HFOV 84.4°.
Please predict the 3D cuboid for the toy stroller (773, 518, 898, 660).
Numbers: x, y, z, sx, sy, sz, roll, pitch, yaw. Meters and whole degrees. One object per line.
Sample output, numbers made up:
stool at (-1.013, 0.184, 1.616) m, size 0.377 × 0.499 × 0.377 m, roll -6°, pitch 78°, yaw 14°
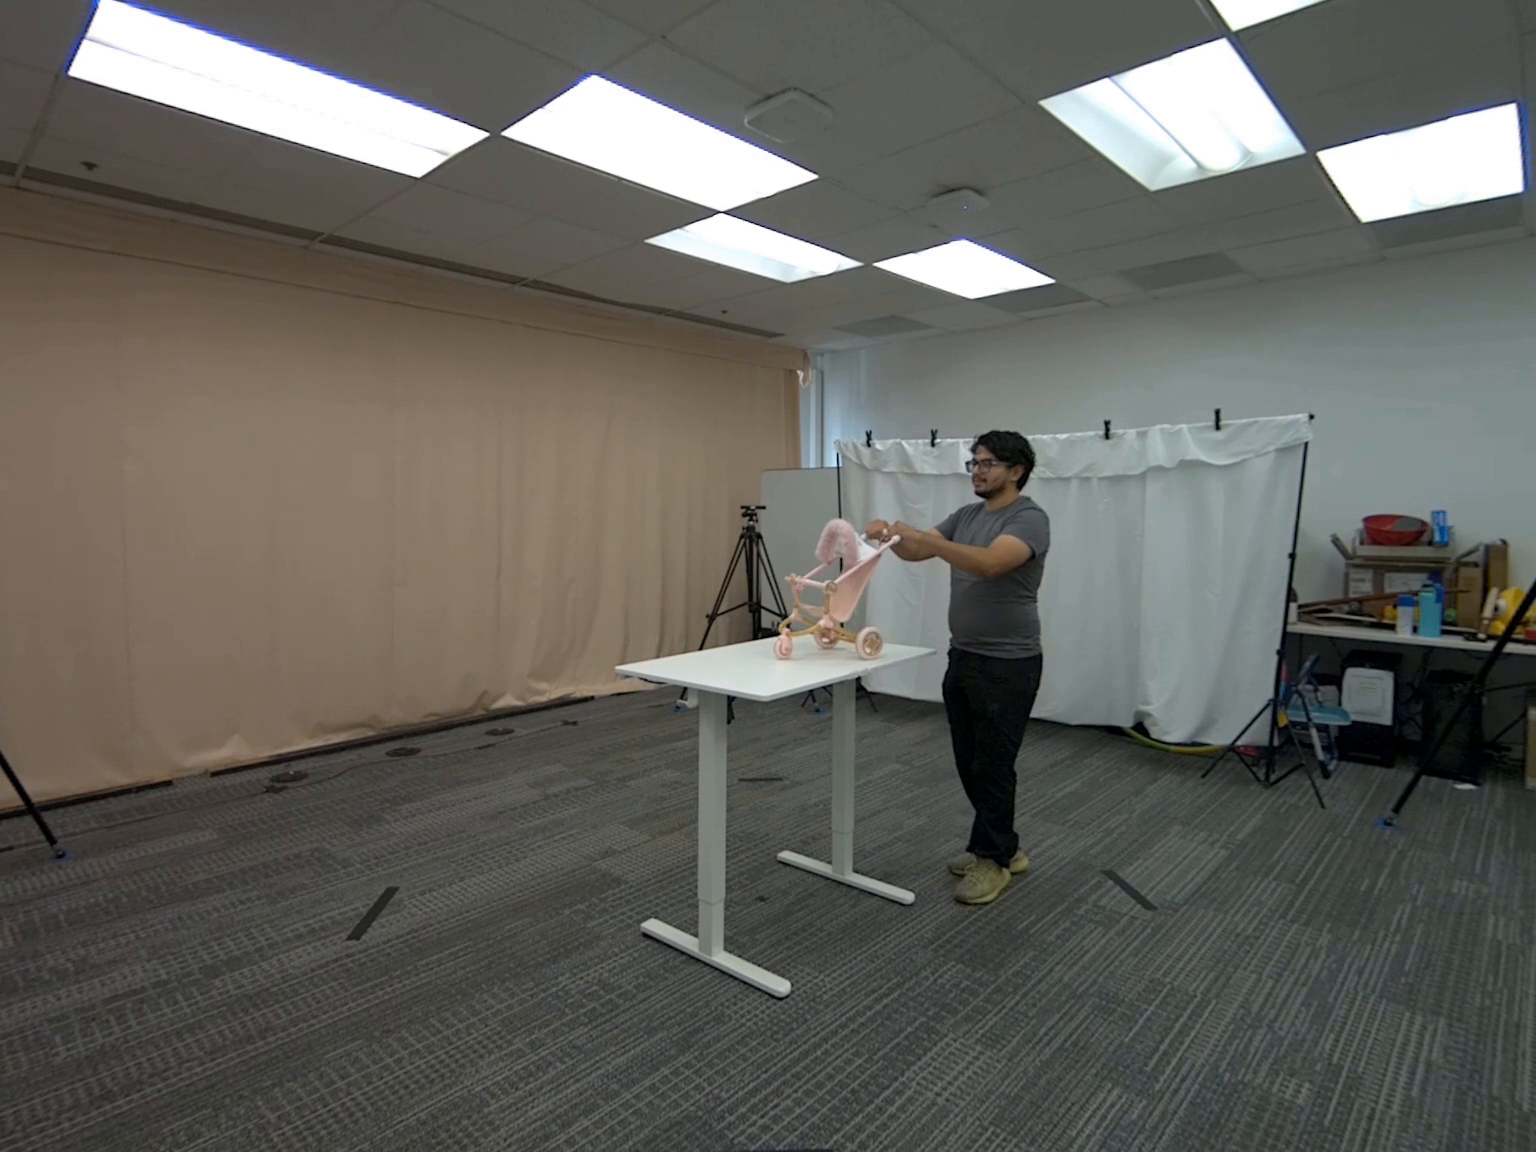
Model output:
toy stroller at (0.225, 0.049, 2.866) m, size 0.333 × 0.535 × 0.288 m, roll 16°, pitch -4°, yaw -23°
